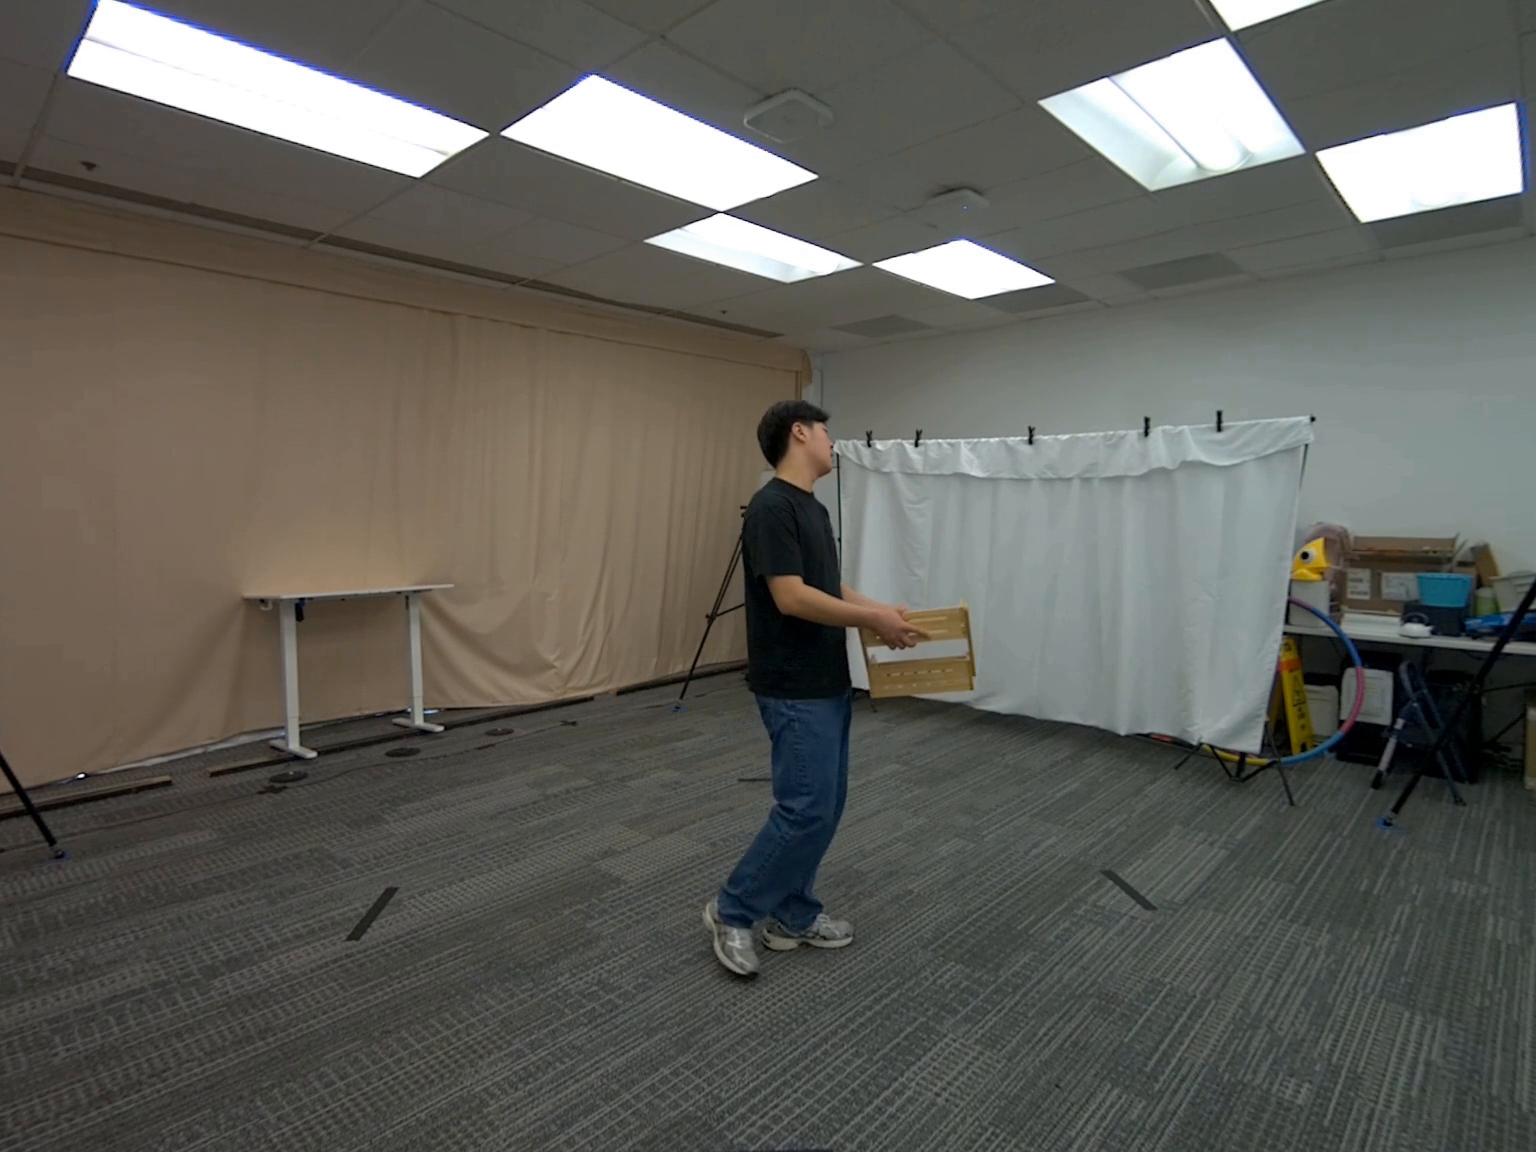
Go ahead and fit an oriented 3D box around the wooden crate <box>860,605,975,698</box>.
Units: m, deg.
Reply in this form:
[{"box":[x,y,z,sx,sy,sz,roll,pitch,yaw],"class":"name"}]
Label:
[{"box":[0.467,0.206,2.591,0.329,0.272,0.299,-7,5,15],"class":"wooden crate"}]
